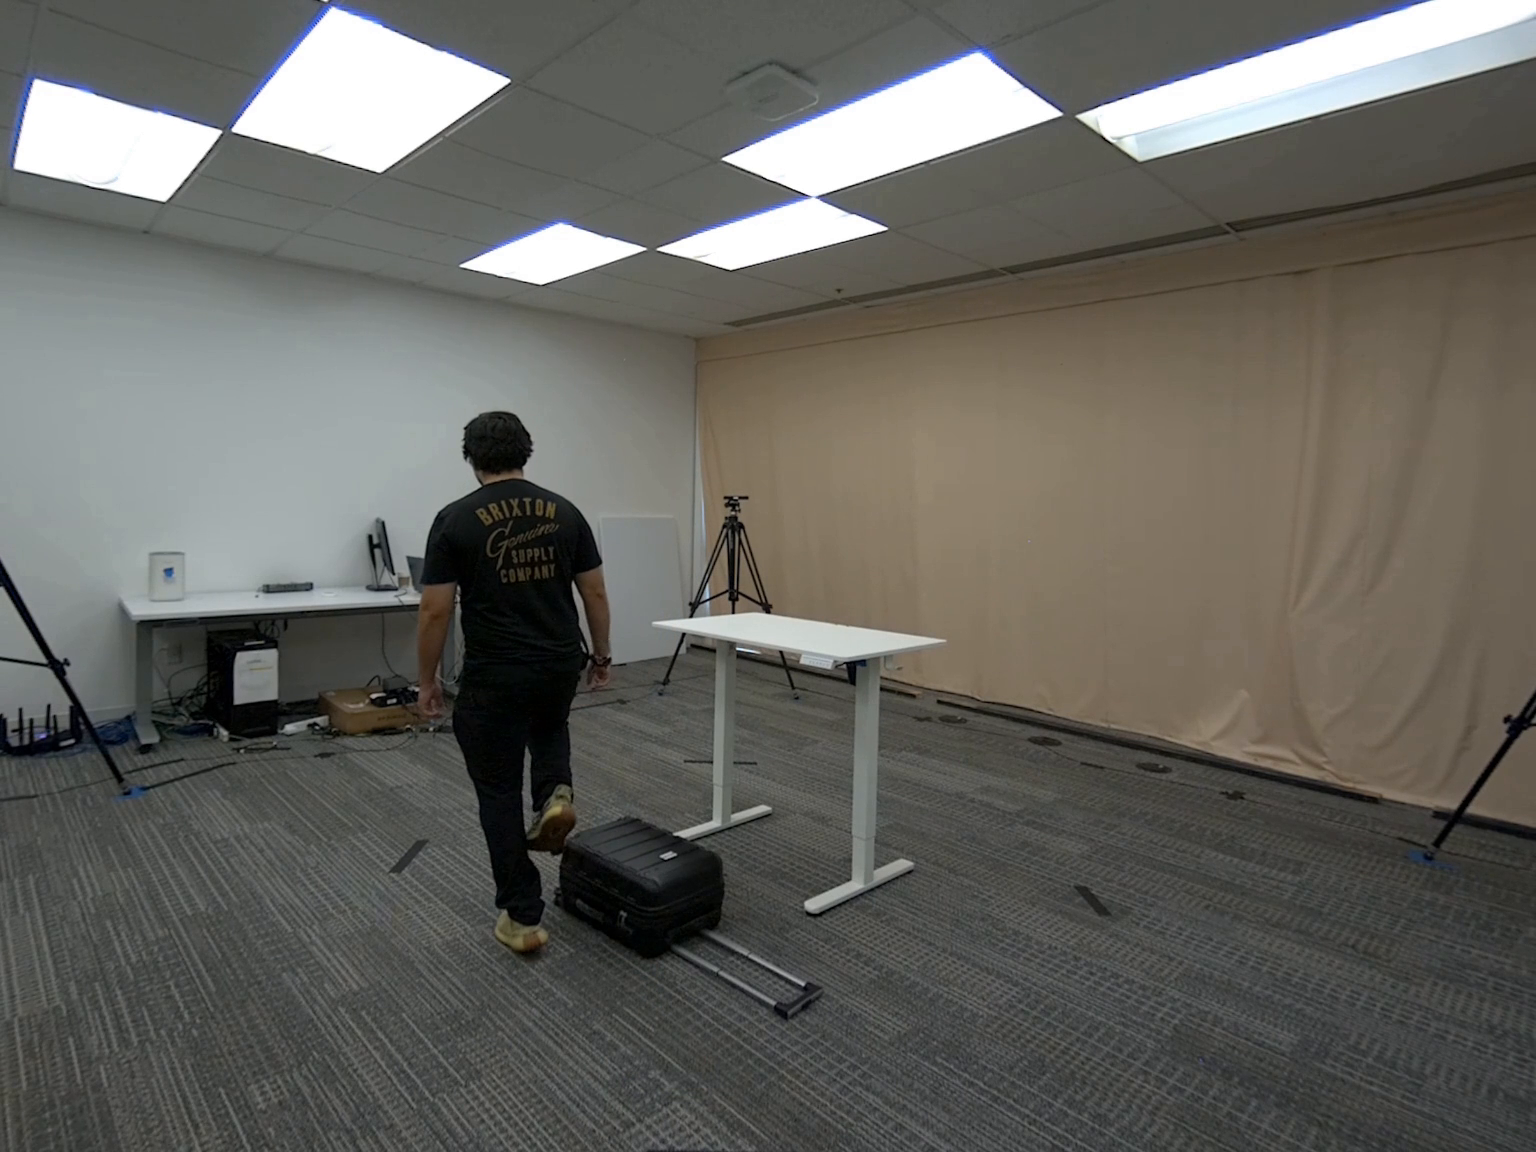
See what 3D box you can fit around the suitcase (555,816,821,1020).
[{"bbox_3d":[-0.271,1.023,2.633,1.003,0.256,0.375,4,4,41],"label":"suitcase"}]
